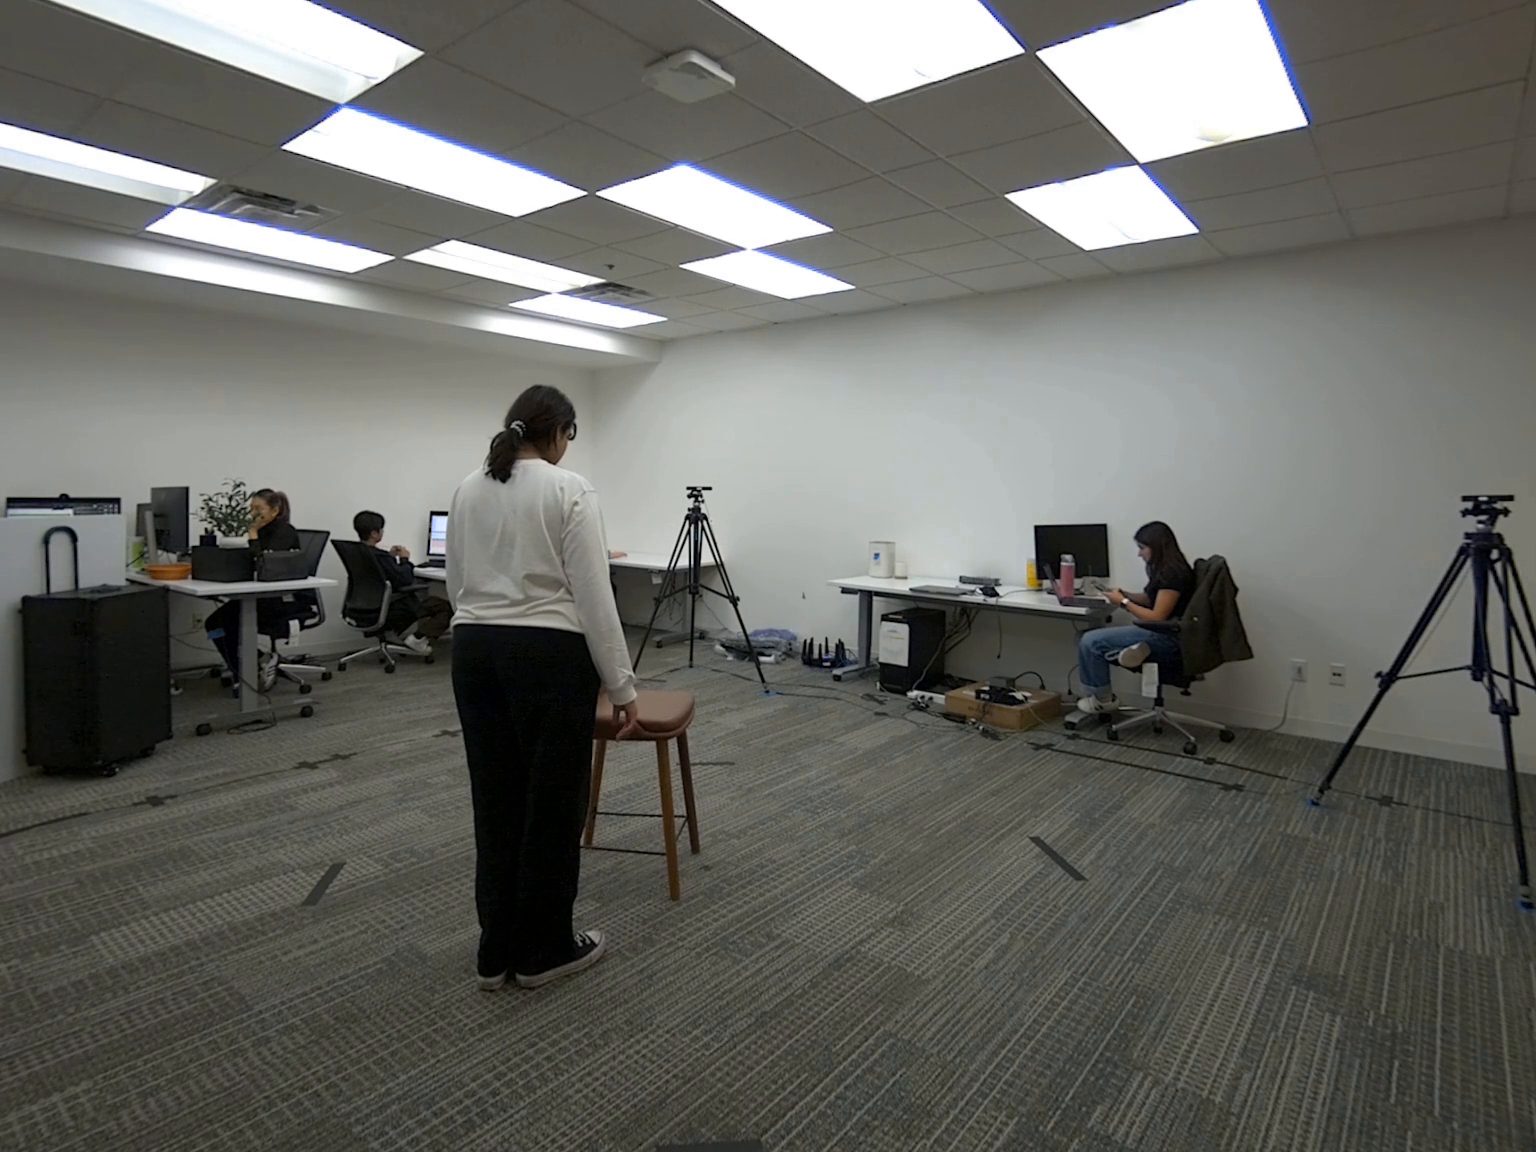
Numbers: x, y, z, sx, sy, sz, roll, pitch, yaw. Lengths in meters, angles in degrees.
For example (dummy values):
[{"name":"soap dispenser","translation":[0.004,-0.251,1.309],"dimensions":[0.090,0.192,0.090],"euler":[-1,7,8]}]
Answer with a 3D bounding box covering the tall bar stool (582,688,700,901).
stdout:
[{"name":"tall bar stool","translation":[-0.505,0.632,3.064],"dimensions":[0.472,0.887,0.453],"euler":[-1,3,8]}]
